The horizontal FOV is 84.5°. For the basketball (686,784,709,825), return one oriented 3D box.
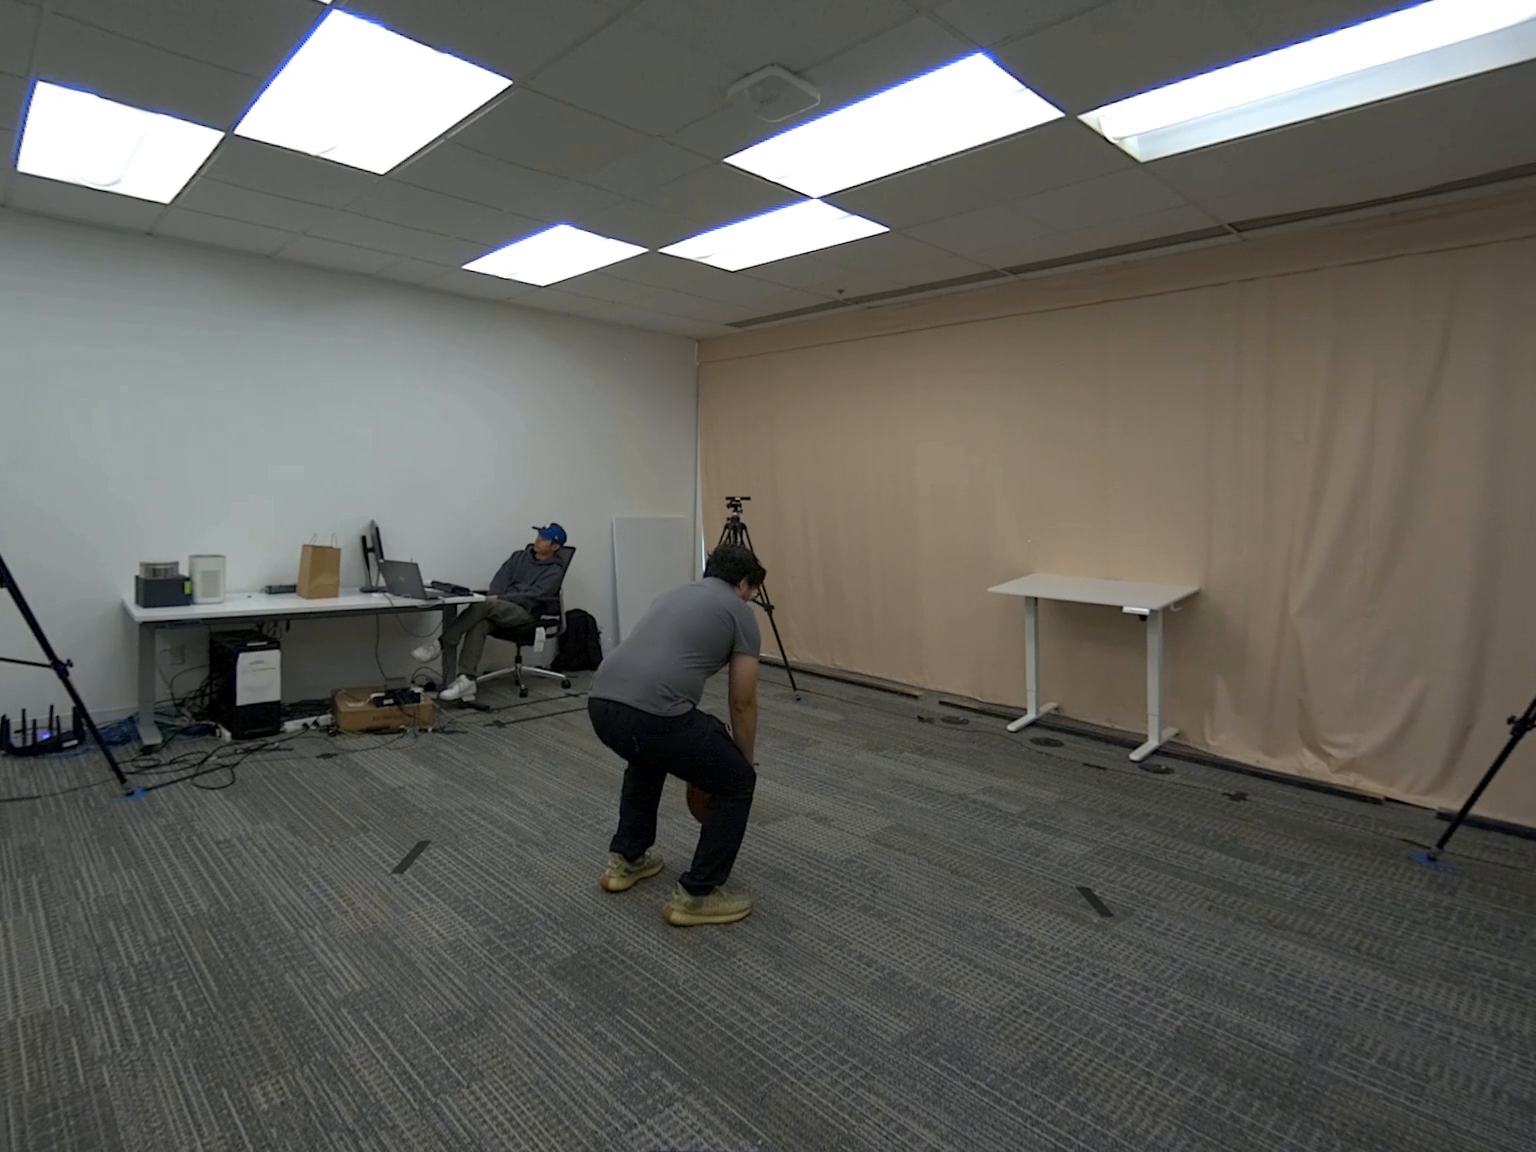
[{"bbox_3d":[-0.188,0.813,3.127,0.236,0.235,0.237,1,4,-1],"label":"basketball"}]
